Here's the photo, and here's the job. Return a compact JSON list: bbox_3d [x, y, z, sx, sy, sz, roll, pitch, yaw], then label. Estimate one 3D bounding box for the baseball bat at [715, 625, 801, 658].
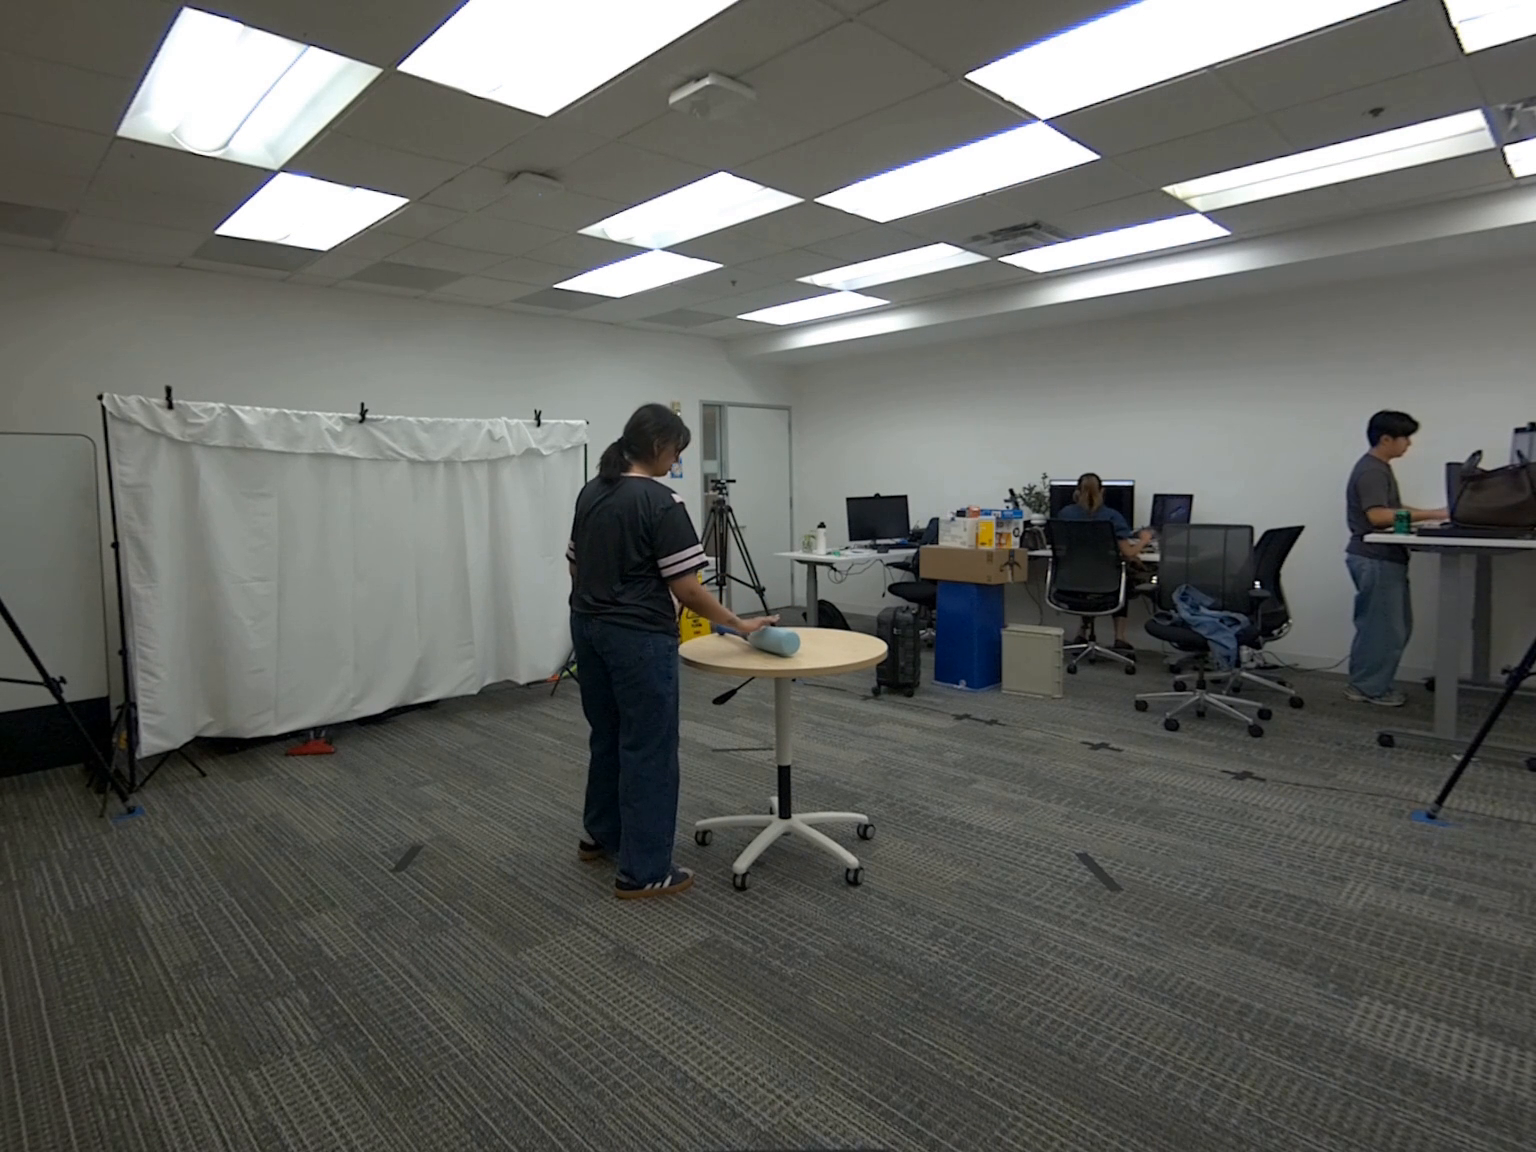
[{"bbox_3d":[-0.058,0.223,3.158,0.087,0.089,0.556,-4,4,-28],"label":"baseball bat"}]
